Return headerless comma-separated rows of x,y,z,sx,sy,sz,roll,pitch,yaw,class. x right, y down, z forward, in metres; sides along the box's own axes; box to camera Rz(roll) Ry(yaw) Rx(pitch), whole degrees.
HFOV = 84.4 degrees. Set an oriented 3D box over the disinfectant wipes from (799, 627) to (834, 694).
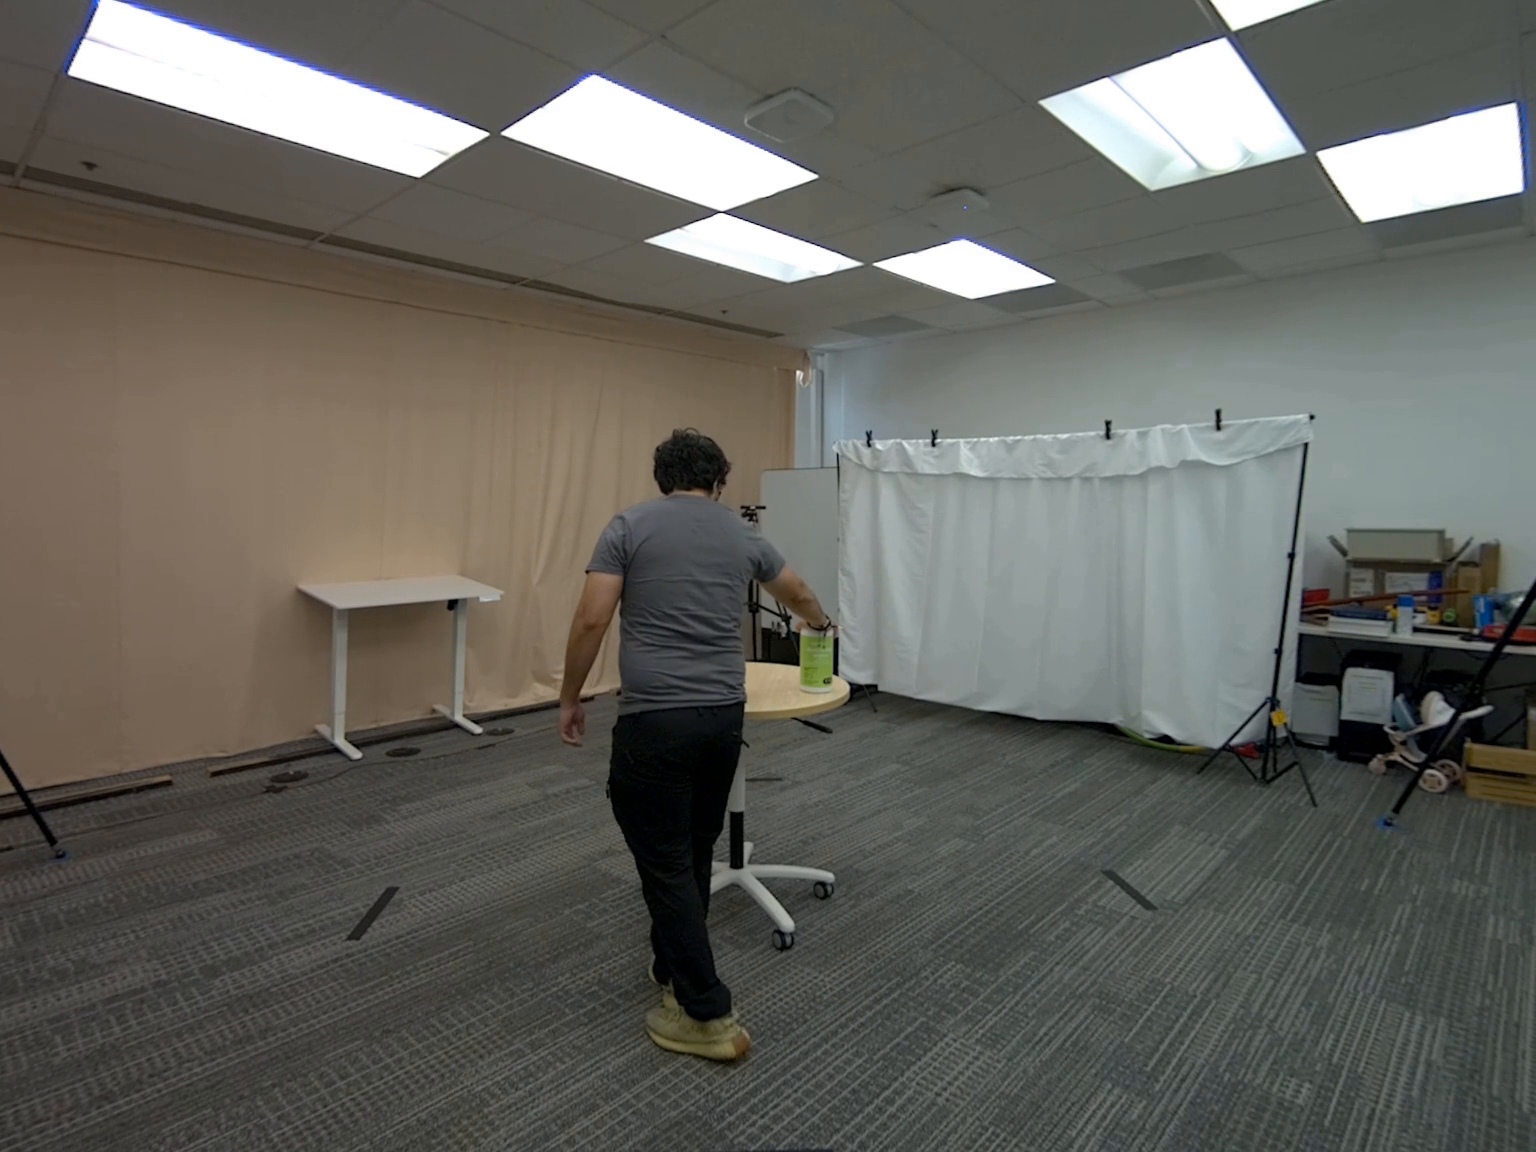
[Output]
0.159,0.274,2.785,0.118,0.217,0.118,0,6,-2,disinfectant wipes
